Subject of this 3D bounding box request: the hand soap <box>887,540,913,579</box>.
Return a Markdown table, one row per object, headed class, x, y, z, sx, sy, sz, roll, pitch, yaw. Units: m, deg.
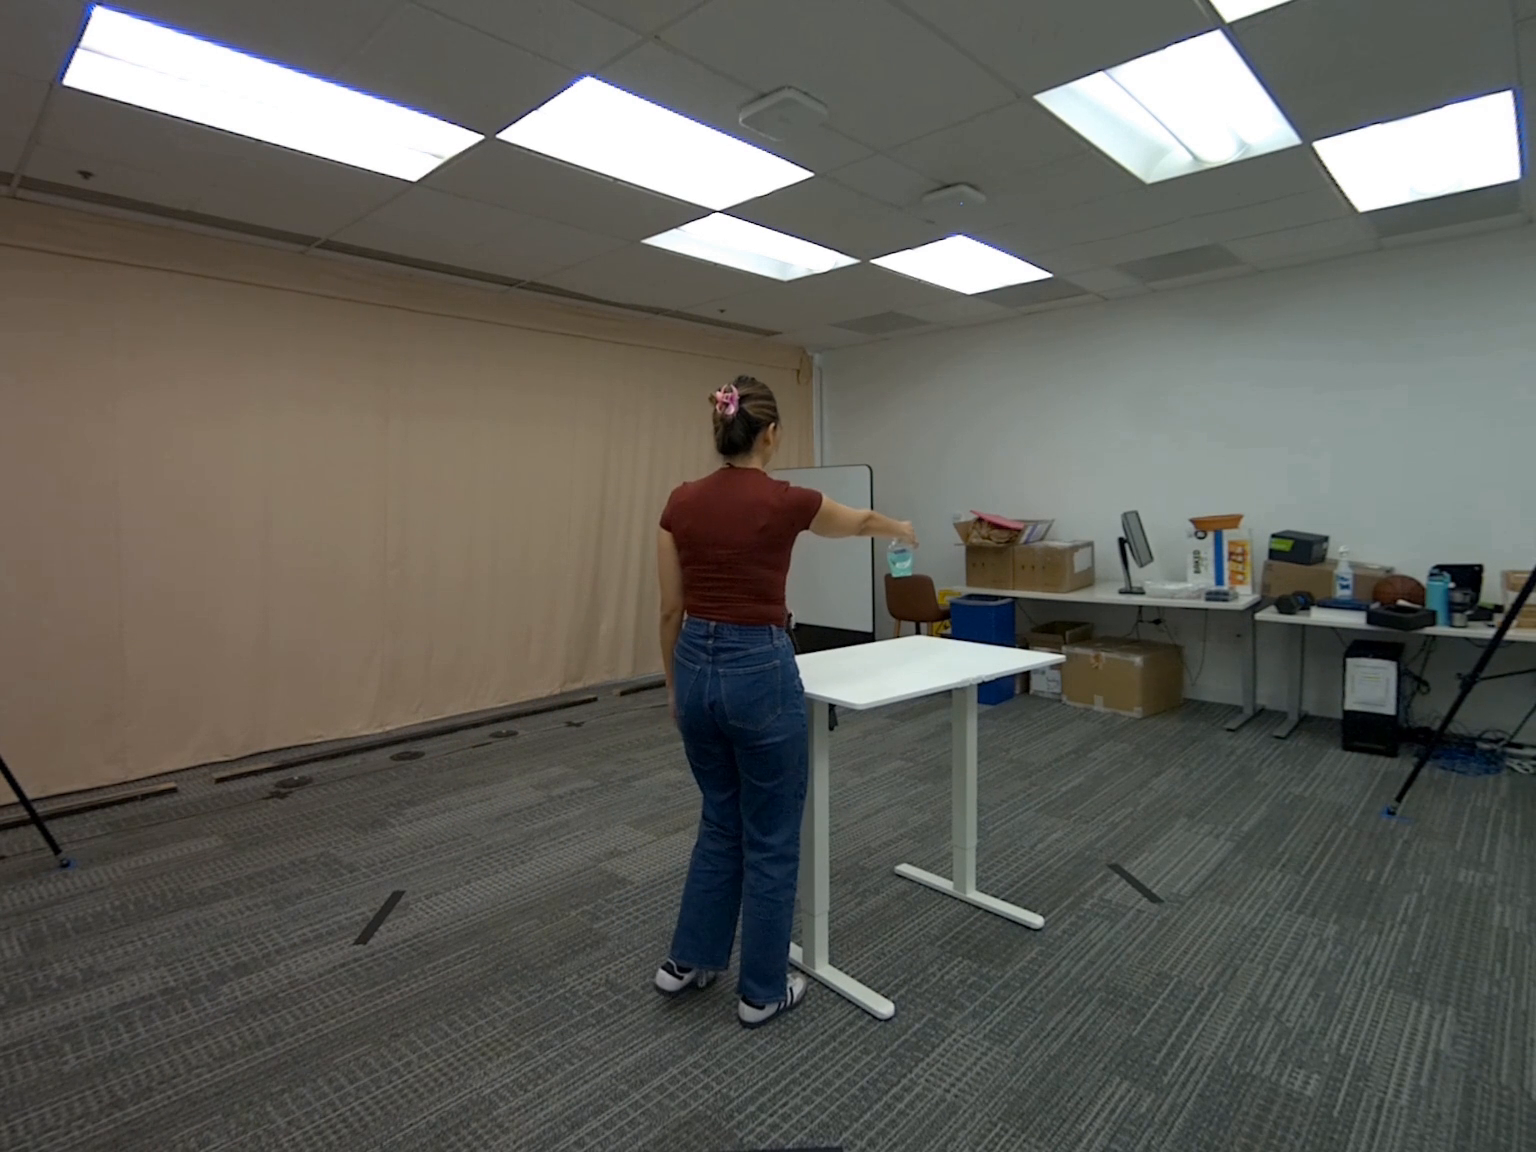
| class | x | y | z | sx | sy | sz | roll | pitch | yaw |
| --- | --- | --- | --- | --- | --- | --- | --- | --- | --- |
| hand soap | 0.429 | -0.083 | 2.694 | 0.084 | 0.167 | 0.044 | -8 | 5 | -3 |
